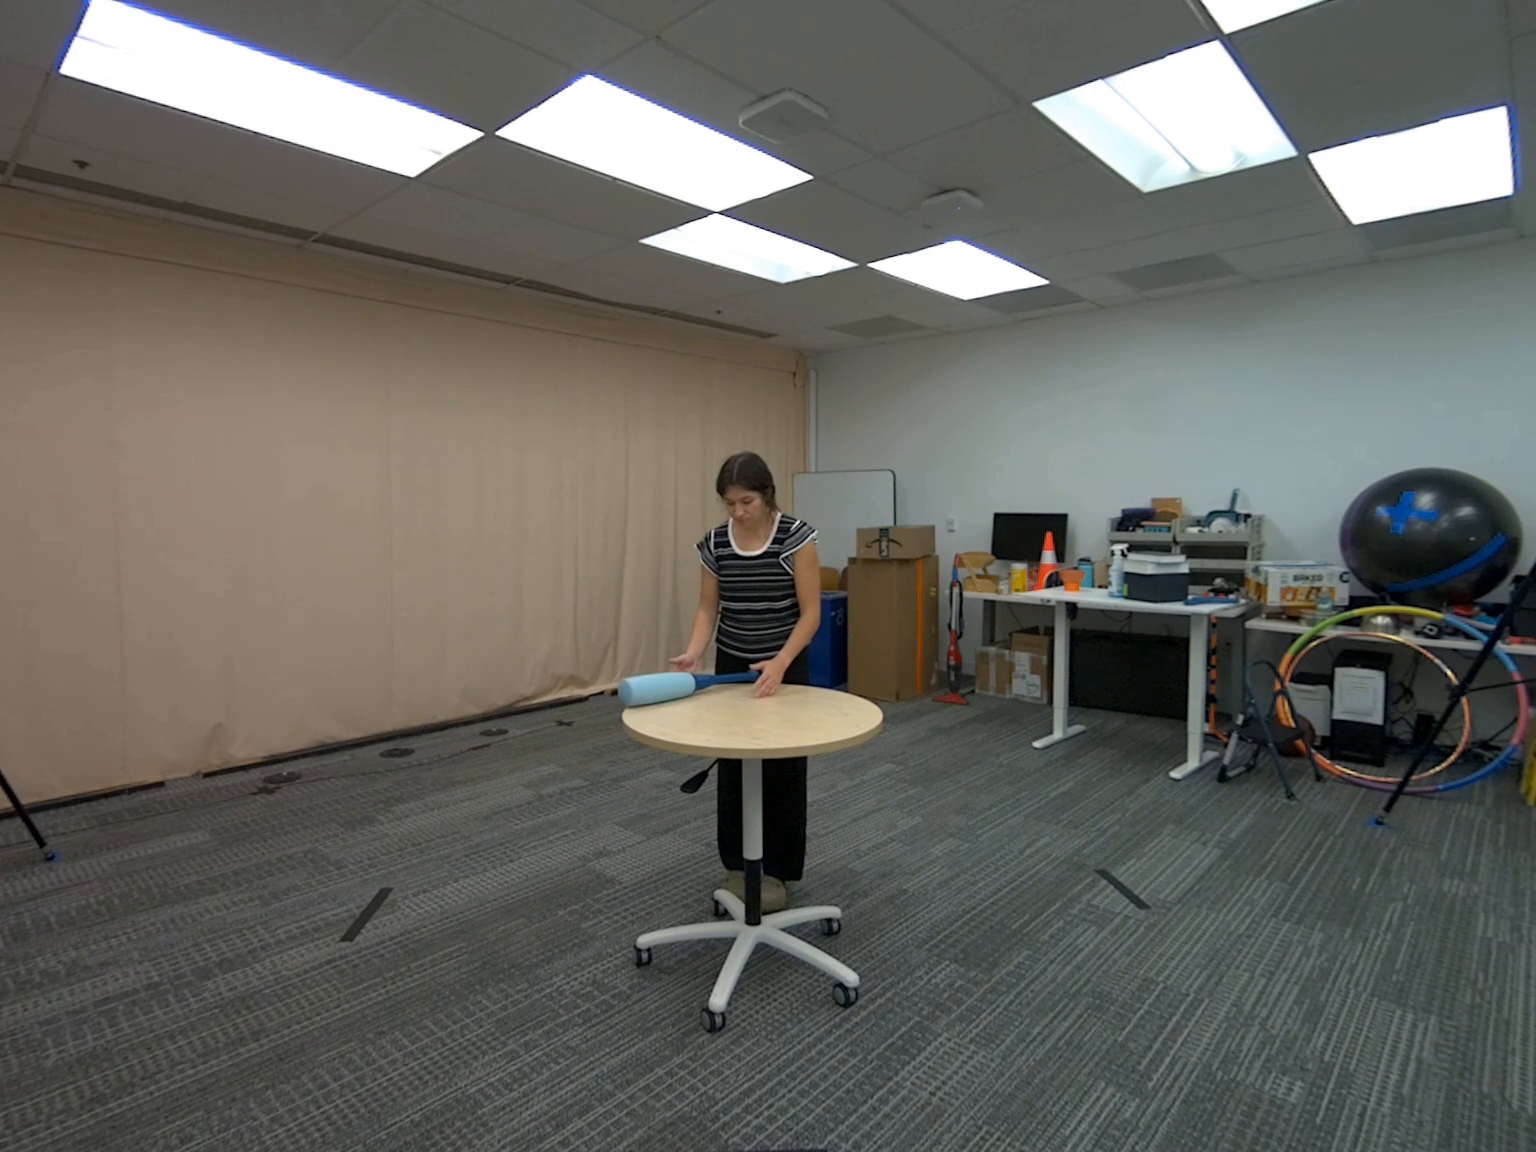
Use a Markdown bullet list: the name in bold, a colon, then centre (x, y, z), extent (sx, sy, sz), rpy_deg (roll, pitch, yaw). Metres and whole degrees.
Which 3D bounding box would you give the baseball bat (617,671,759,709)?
- **baseball bat**: centre (-0.244, 0.351, 2.715), extent (0.526, 0.089, 0.092), rpy_deg (-1, 3, -40)
